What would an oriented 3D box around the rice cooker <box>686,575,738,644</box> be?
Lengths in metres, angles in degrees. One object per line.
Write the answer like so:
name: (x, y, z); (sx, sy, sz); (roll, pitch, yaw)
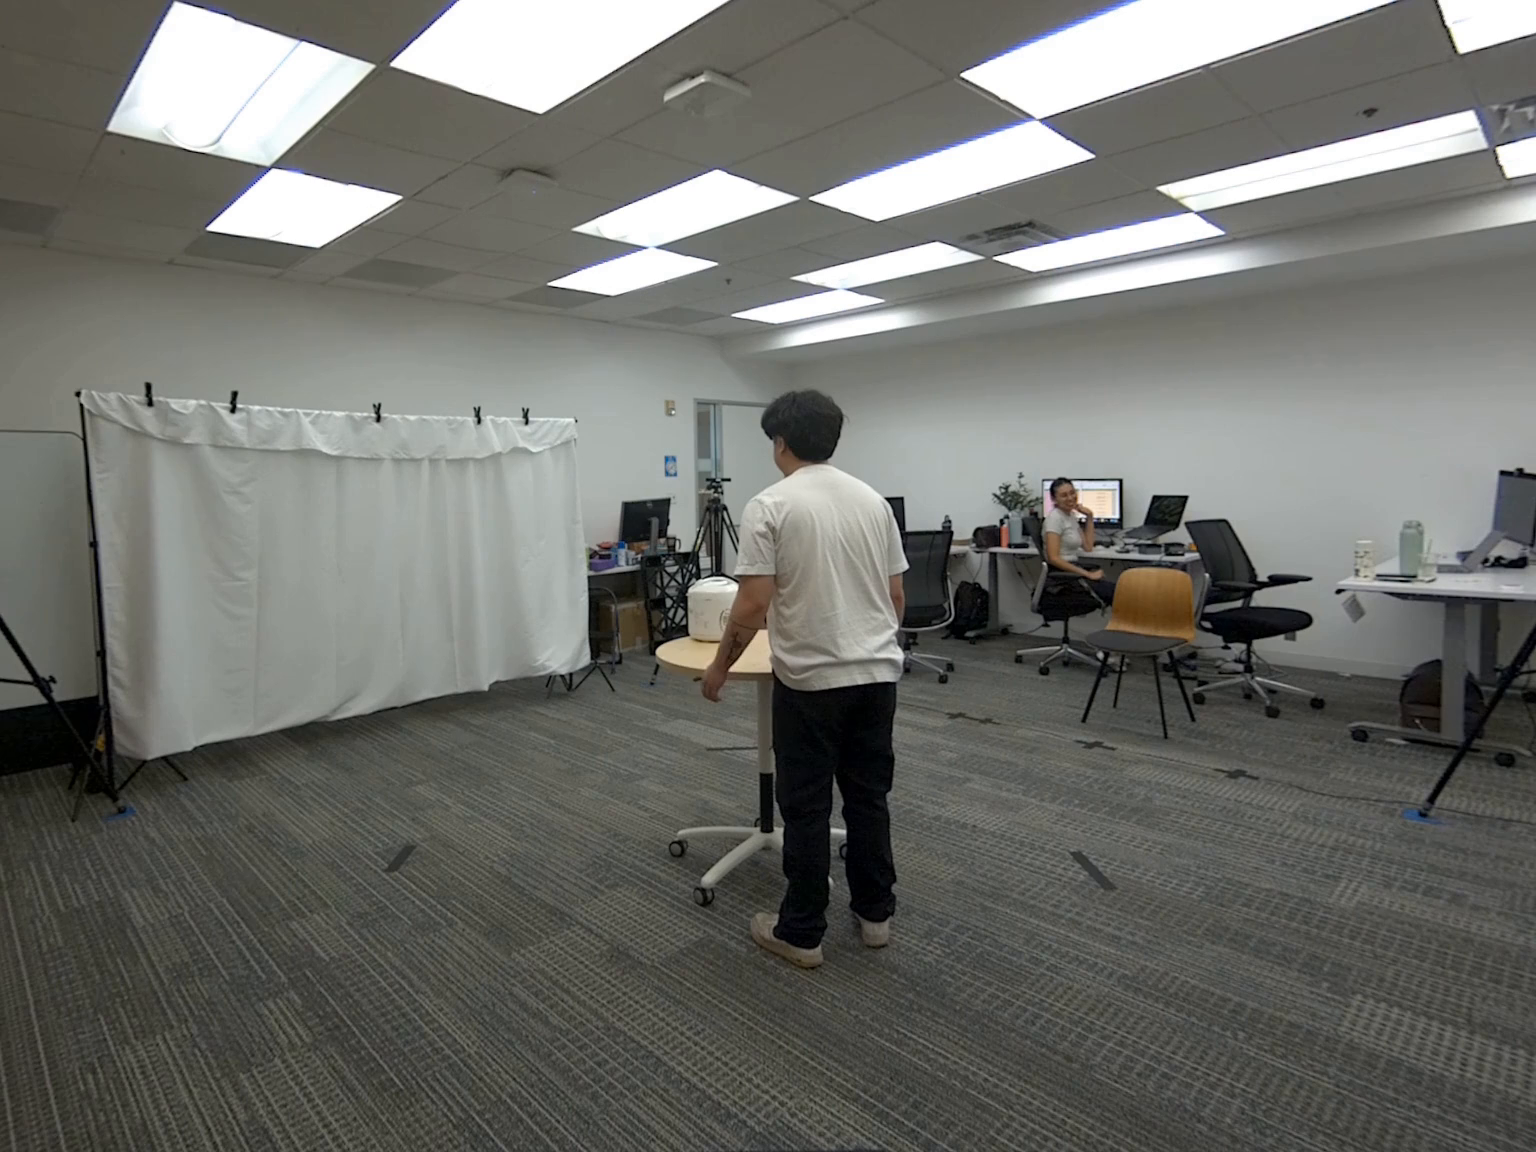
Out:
rice cooker: (-0.192, 0.120, 3.216); (0.216, 0.232, 0.223); (-4, 4, -26)
